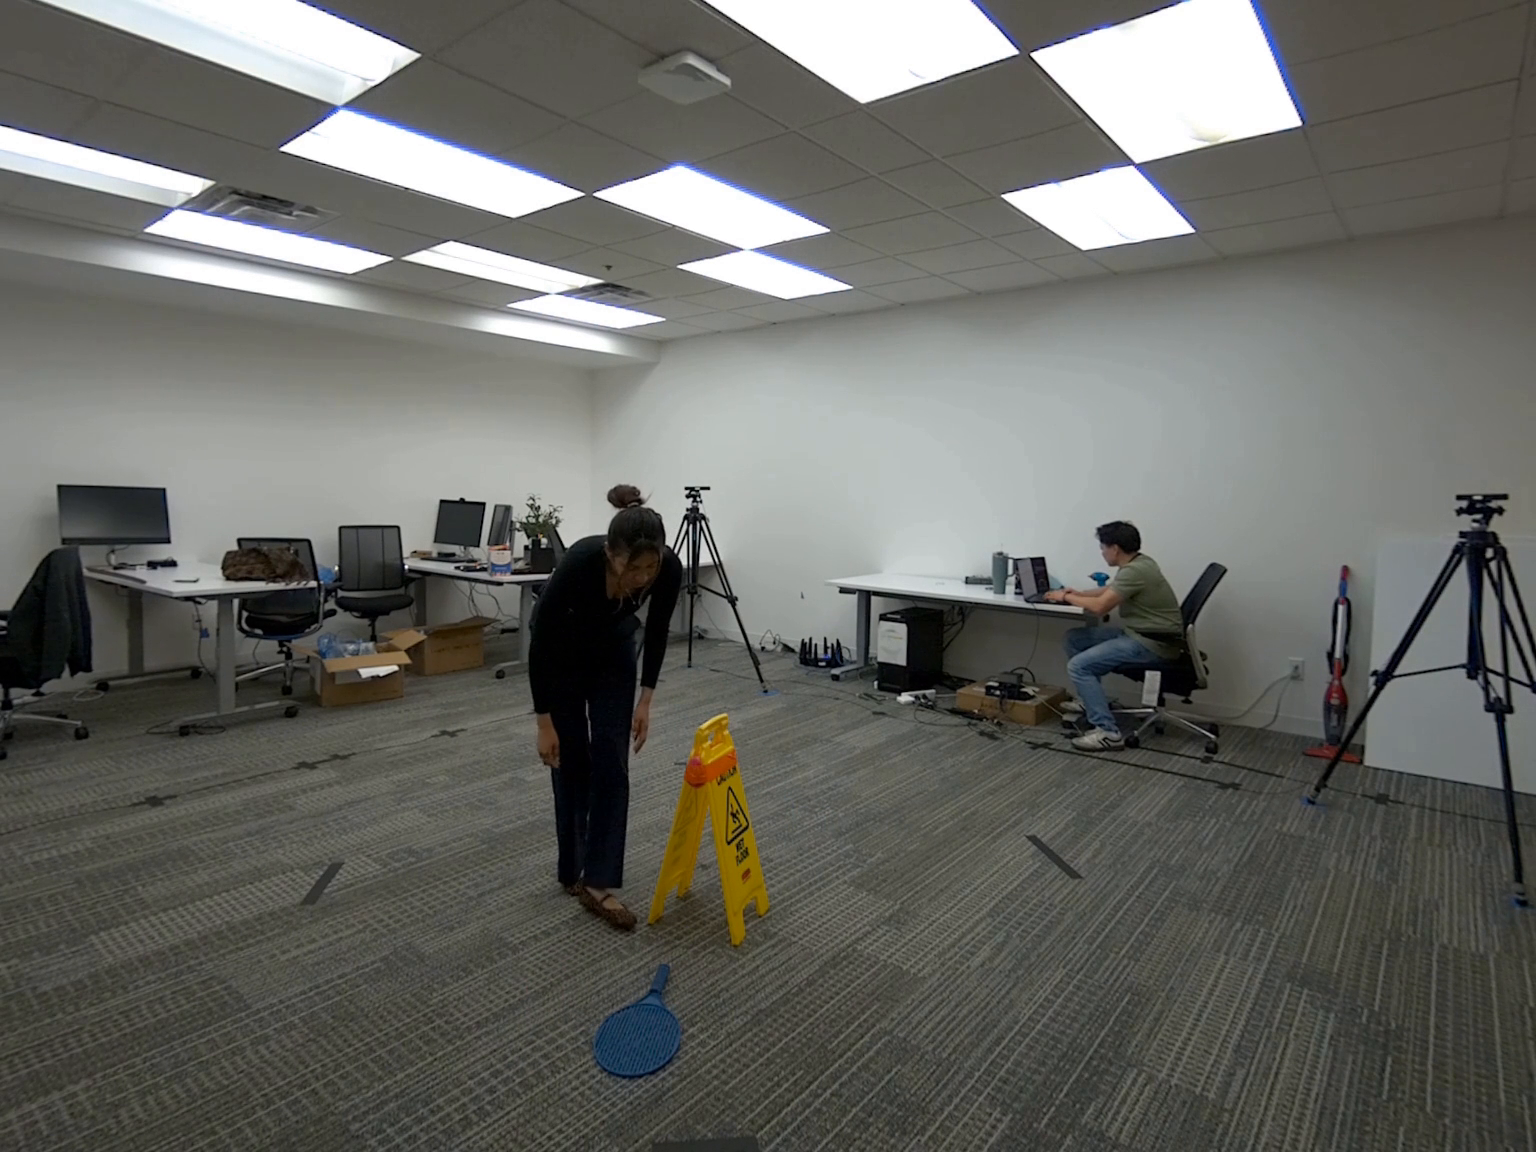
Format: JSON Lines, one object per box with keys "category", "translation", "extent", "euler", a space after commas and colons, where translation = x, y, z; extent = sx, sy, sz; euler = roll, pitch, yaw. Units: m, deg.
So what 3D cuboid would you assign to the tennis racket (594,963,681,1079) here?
{"category": "tennis racket", "translation": [-0.324, 1.147, 2.210], "extent": [0.215, 0.031, 0.432], "euler": [1, 7, 5]}
